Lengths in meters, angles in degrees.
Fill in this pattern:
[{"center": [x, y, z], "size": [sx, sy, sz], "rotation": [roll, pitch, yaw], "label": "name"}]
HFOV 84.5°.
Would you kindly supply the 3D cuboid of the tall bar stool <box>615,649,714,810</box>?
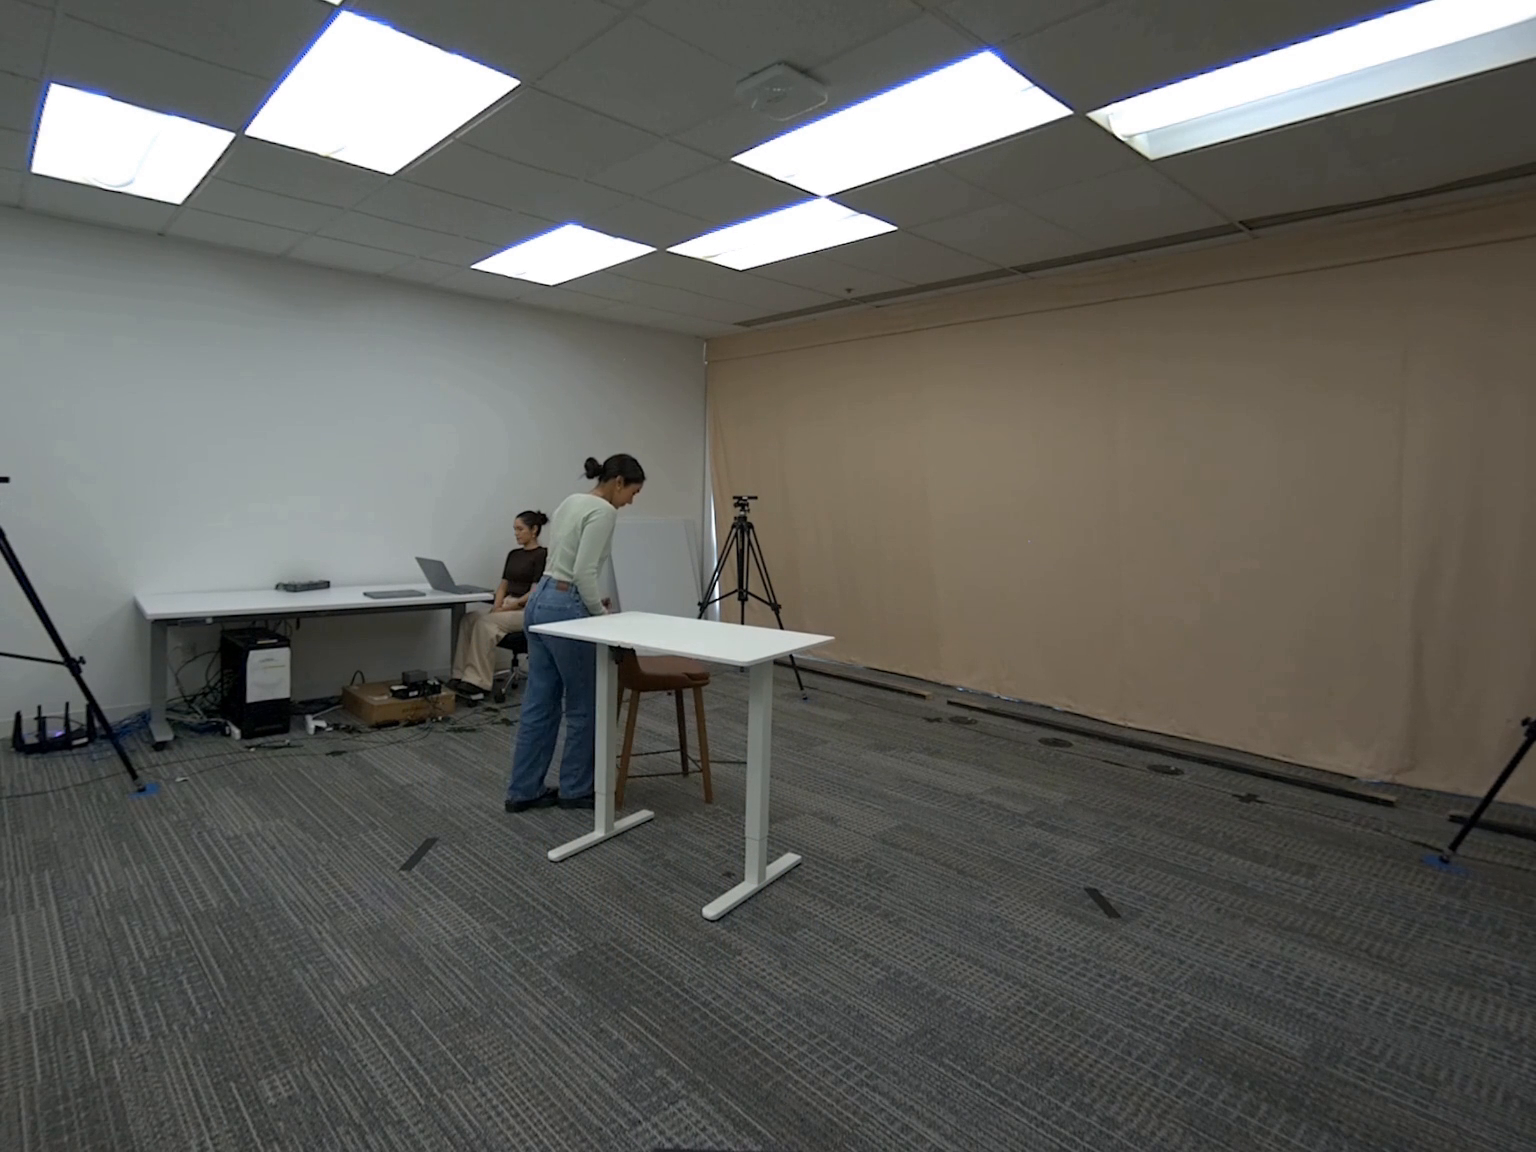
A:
[{"center": [-0.540, 0.583, 3.934], "size": [0.460, 0.887, 0.465], "rotation": [-1, 4, -21], "label": "tall bar stool"}]
